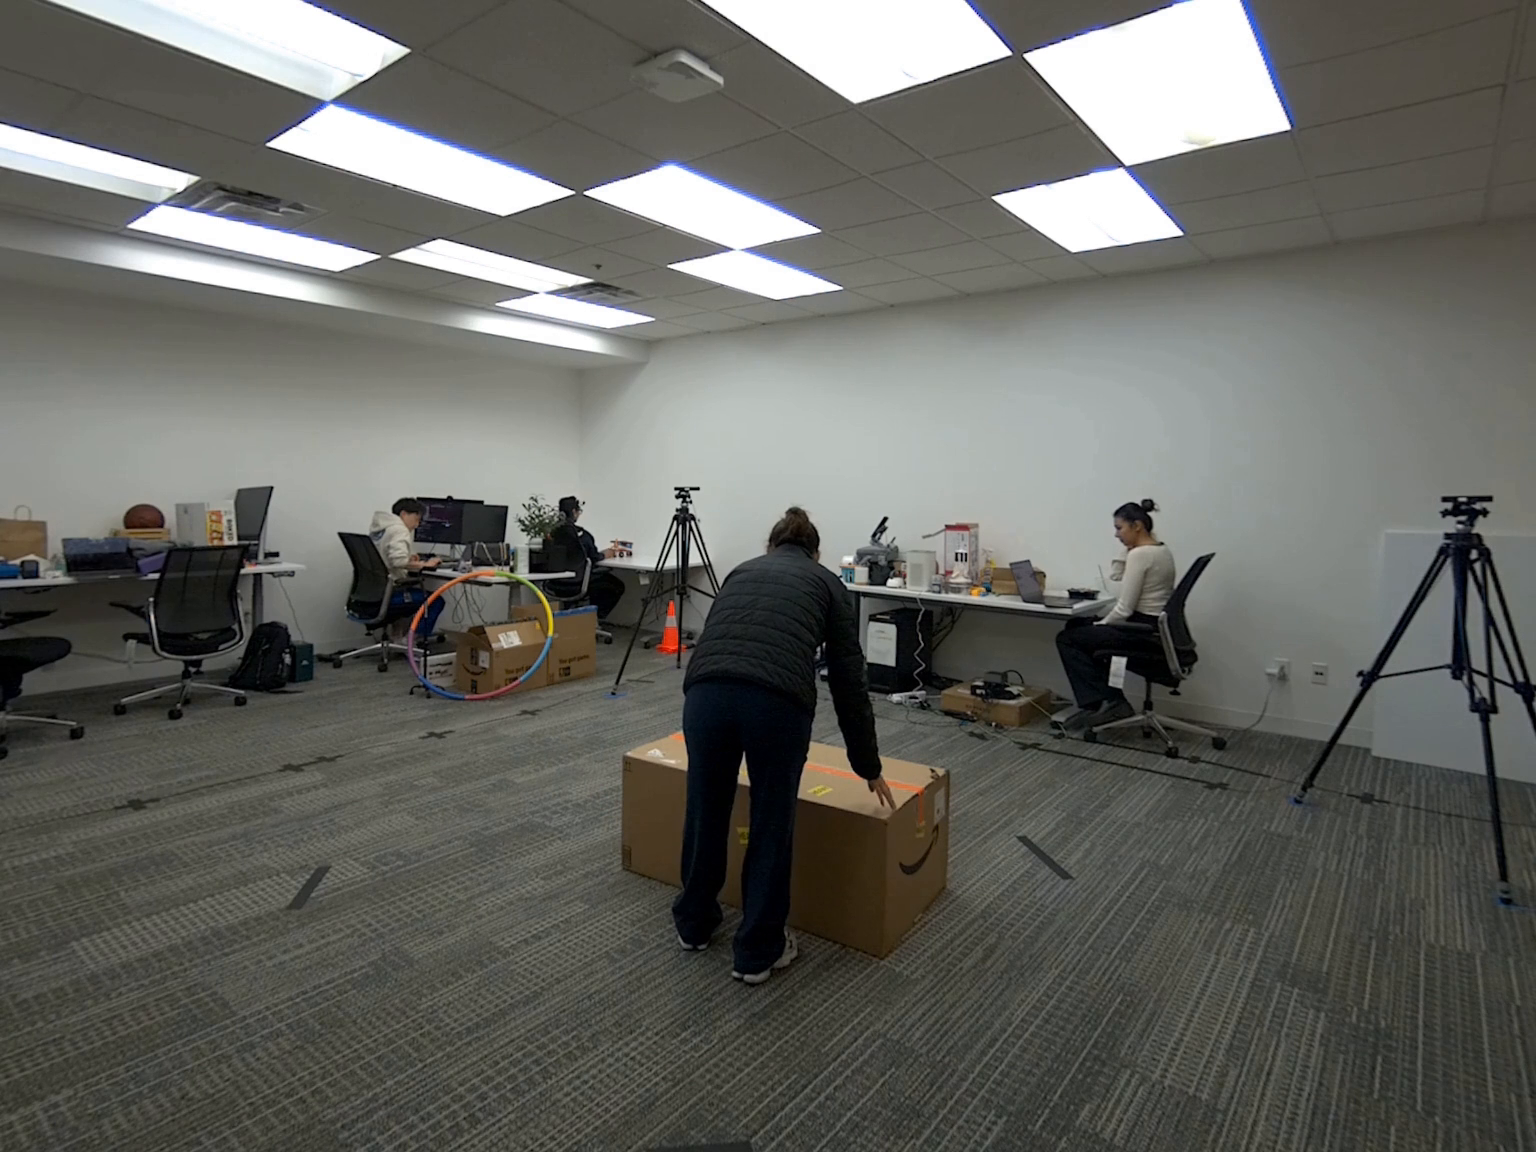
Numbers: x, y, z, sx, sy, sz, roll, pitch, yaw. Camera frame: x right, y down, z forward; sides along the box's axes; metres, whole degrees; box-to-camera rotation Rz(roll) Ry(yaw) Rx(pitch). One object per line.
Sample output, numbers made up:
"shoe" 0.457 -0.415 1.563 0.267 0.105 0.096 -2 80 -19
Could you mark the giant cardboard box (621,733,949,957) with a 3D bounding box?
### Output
"giant cardboard box" 0.065 0.864 3.045 1.058 0.424 0.562 5 6 33
